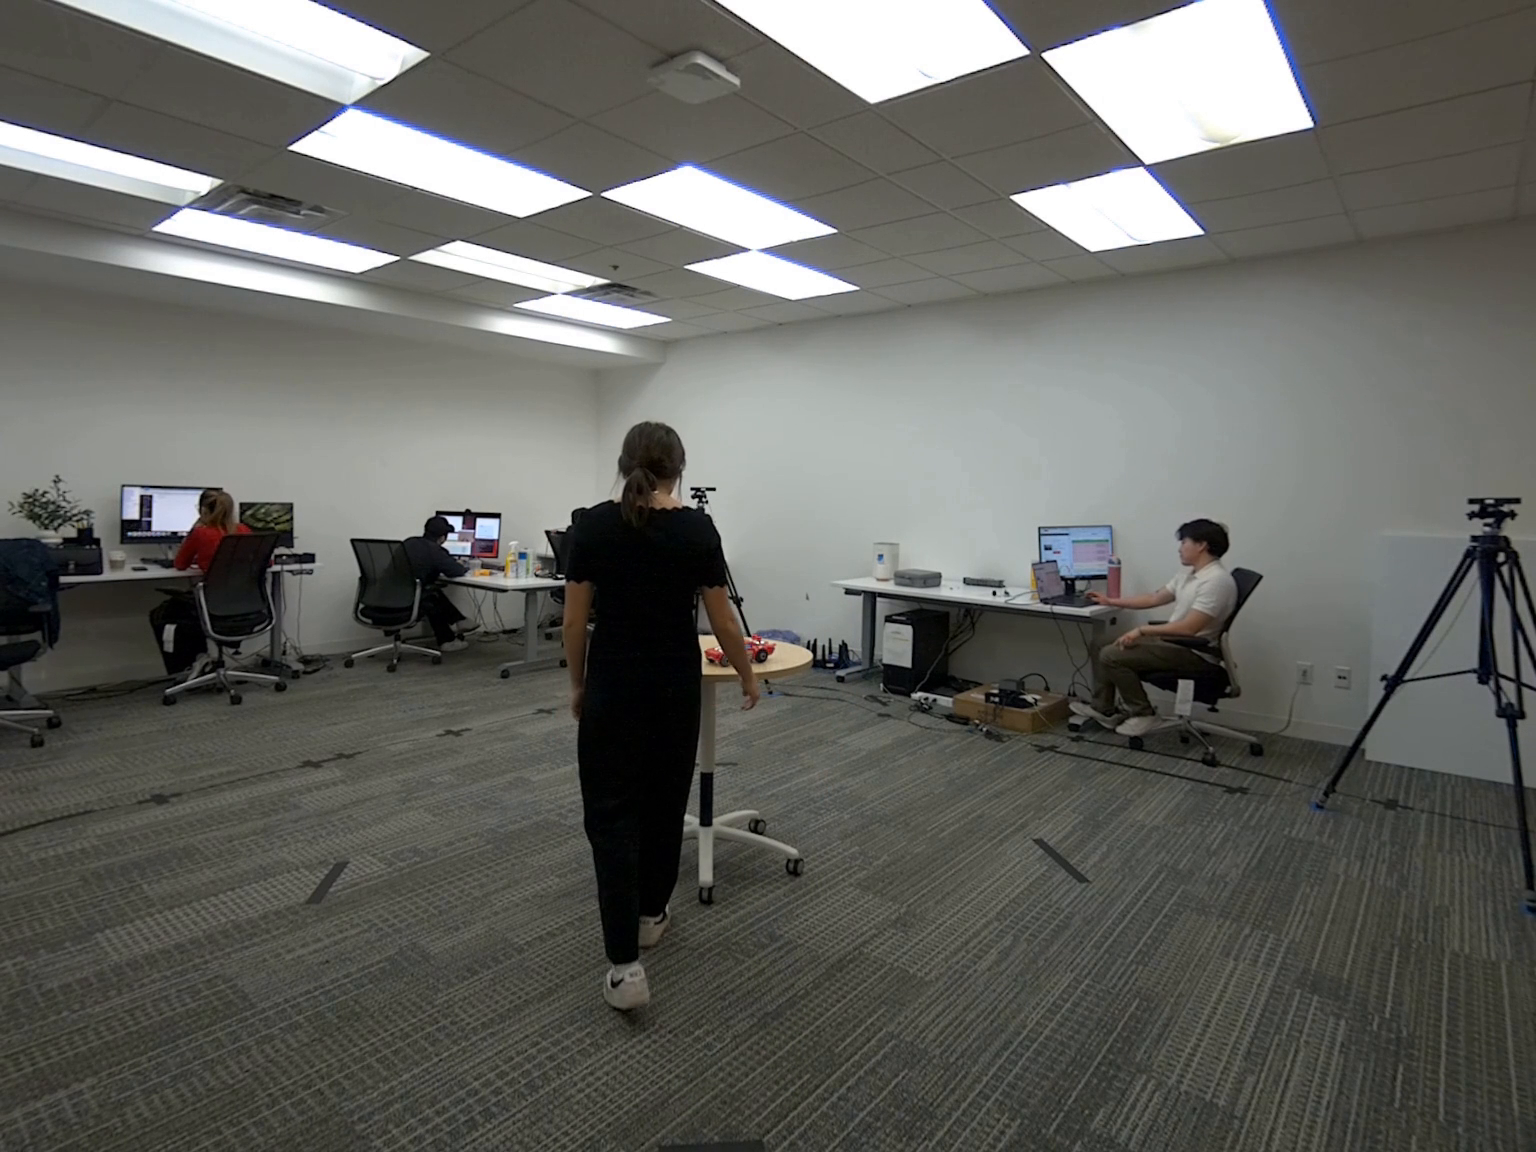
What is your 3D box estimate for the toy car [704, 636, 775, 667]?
[{"bbox_3d":[-0.097,0.263,2.971,0.250,0.082,0.134,-16,13,-29],"label":"toy car"}]
